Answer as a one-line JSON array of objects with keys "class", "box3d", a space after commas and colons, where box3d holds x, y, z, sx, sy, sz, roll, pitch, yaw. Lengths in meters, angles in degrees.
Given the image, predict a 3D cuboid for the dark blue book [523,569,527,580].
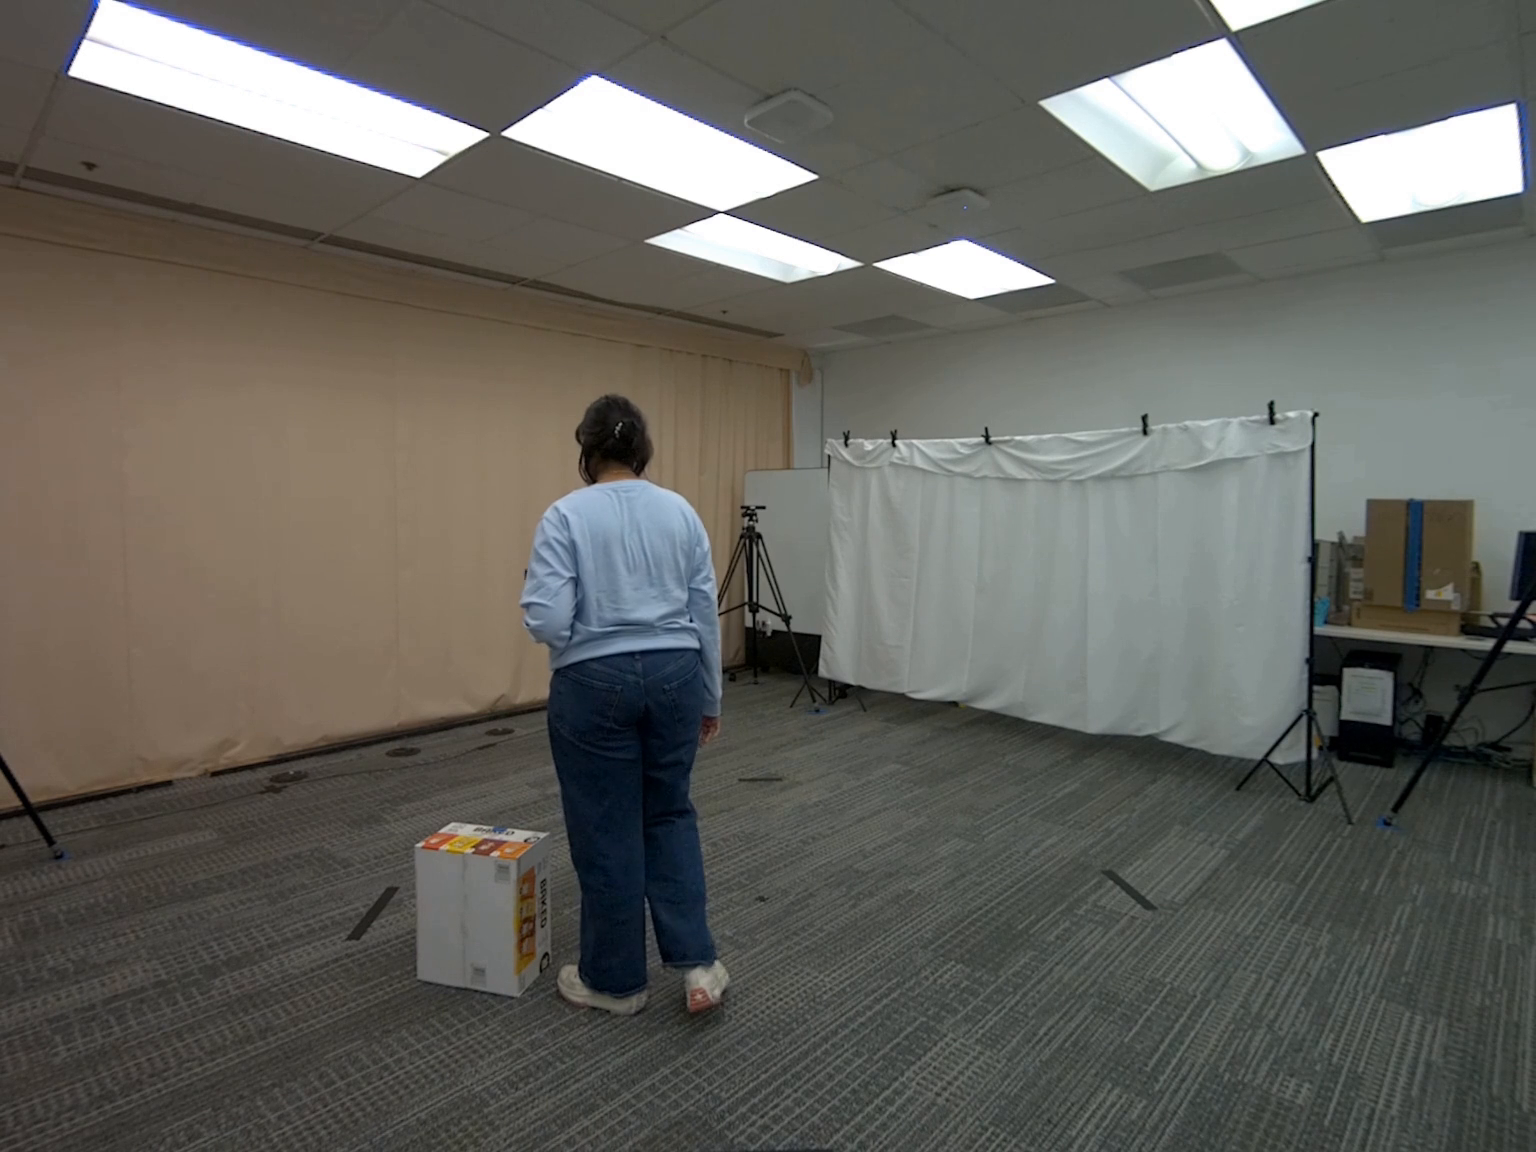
[{"class": "dark blue book", "box3d": [-0.582, 0.026, 2.516, 0.159, 0.045, 0.254, -15, 34, -41]}]
